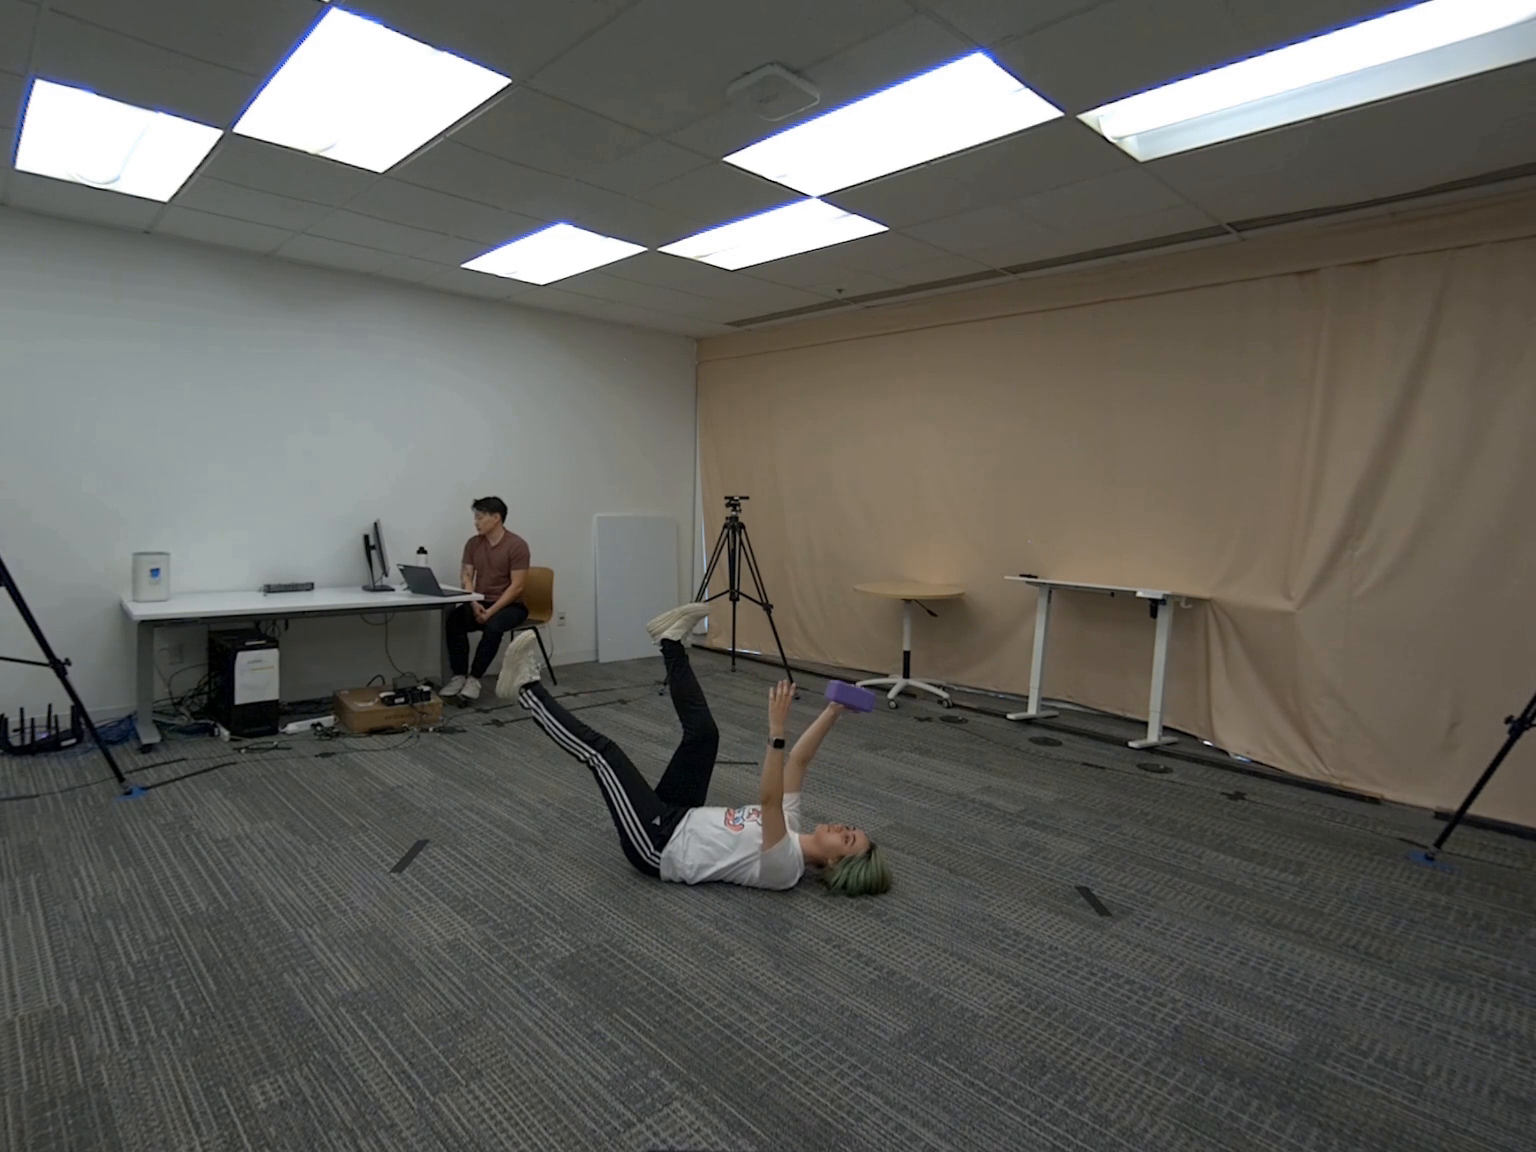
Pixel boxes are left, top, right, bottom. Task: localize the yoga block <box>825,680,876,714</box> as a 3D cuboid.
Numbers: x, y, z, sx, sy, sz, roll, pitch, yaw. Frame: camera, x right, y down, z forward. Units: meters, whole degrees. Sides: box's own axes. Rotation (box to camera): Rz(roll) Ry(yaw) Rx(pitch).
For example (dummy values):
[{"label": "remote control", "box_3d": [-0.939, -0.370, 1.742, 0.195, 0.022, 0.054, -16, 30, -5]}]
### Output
[{"label": "yoga block", "box_3d": [0.287, 0.442, 3.121, 0.148, 0.077, 0.229, 17, -6, -4]}]
